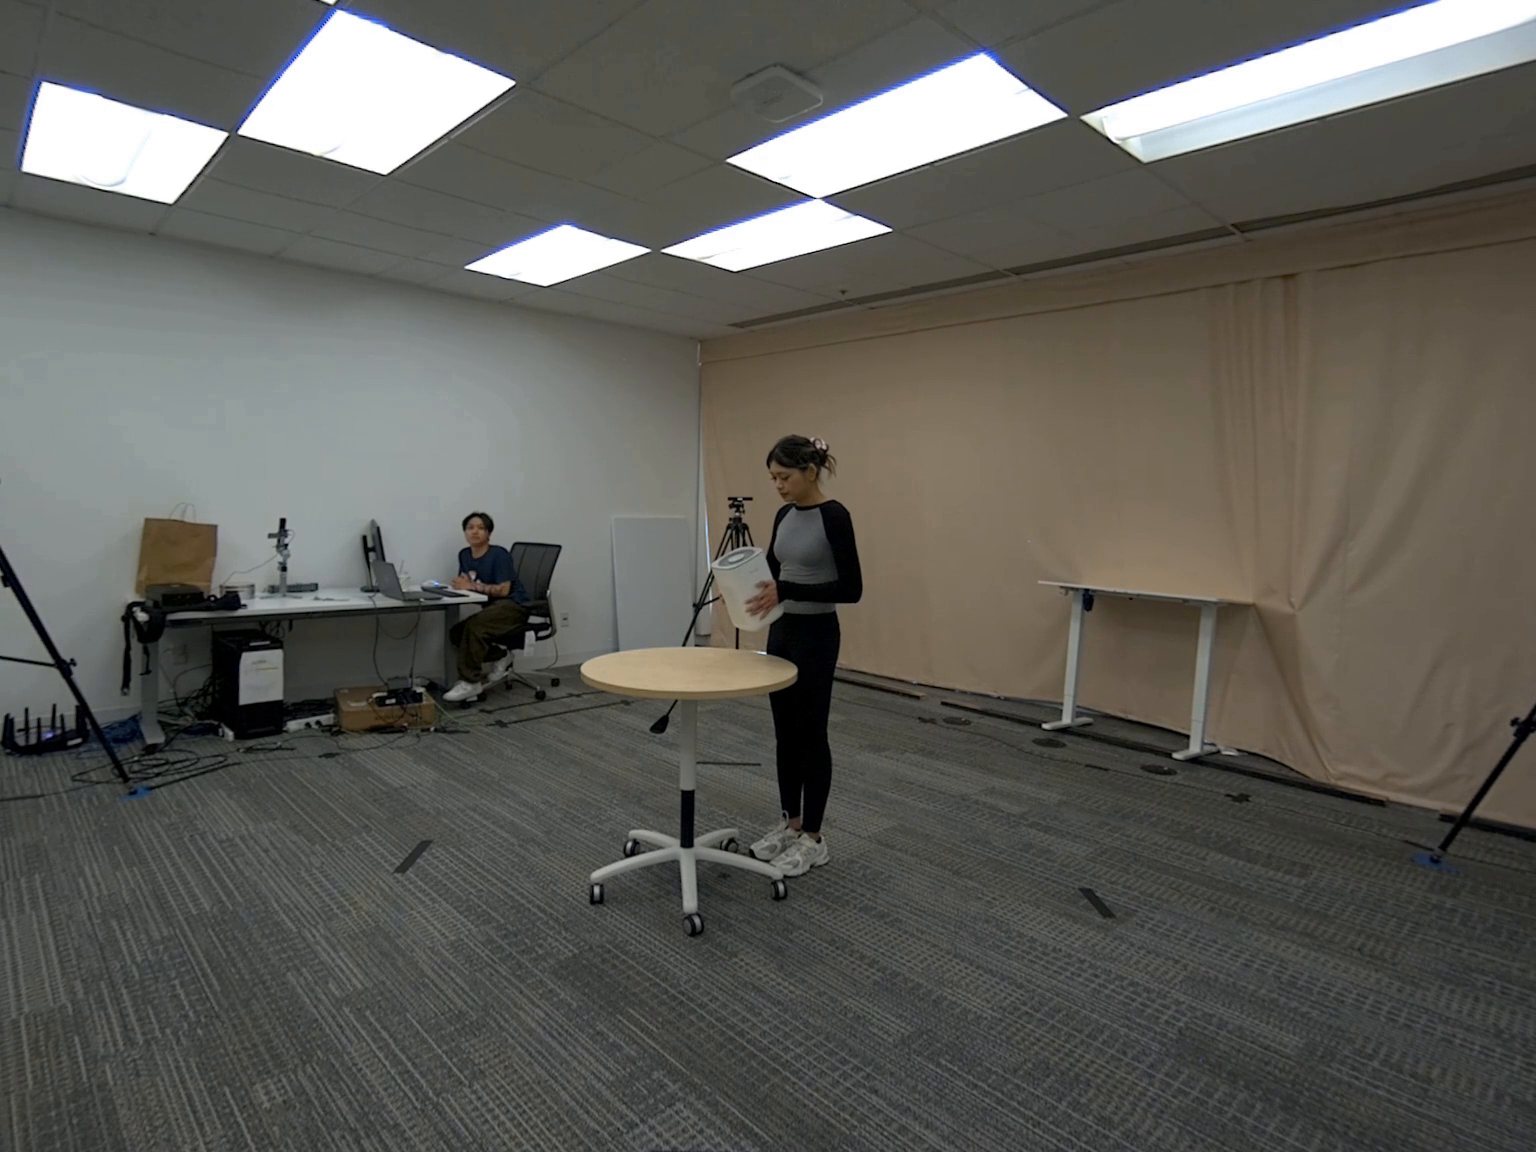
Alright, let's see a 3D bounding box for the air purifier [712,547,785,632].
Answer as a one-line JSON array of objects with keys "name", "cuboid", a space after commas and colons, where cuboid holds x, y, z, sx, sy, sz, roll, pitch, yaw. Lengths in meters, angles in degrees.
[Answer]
[{"name": "air purifier", "cuboid": [-0.081, 0.055, 3.057, 0.170, 0.261, 0.175, -32, 19, -31]}]
